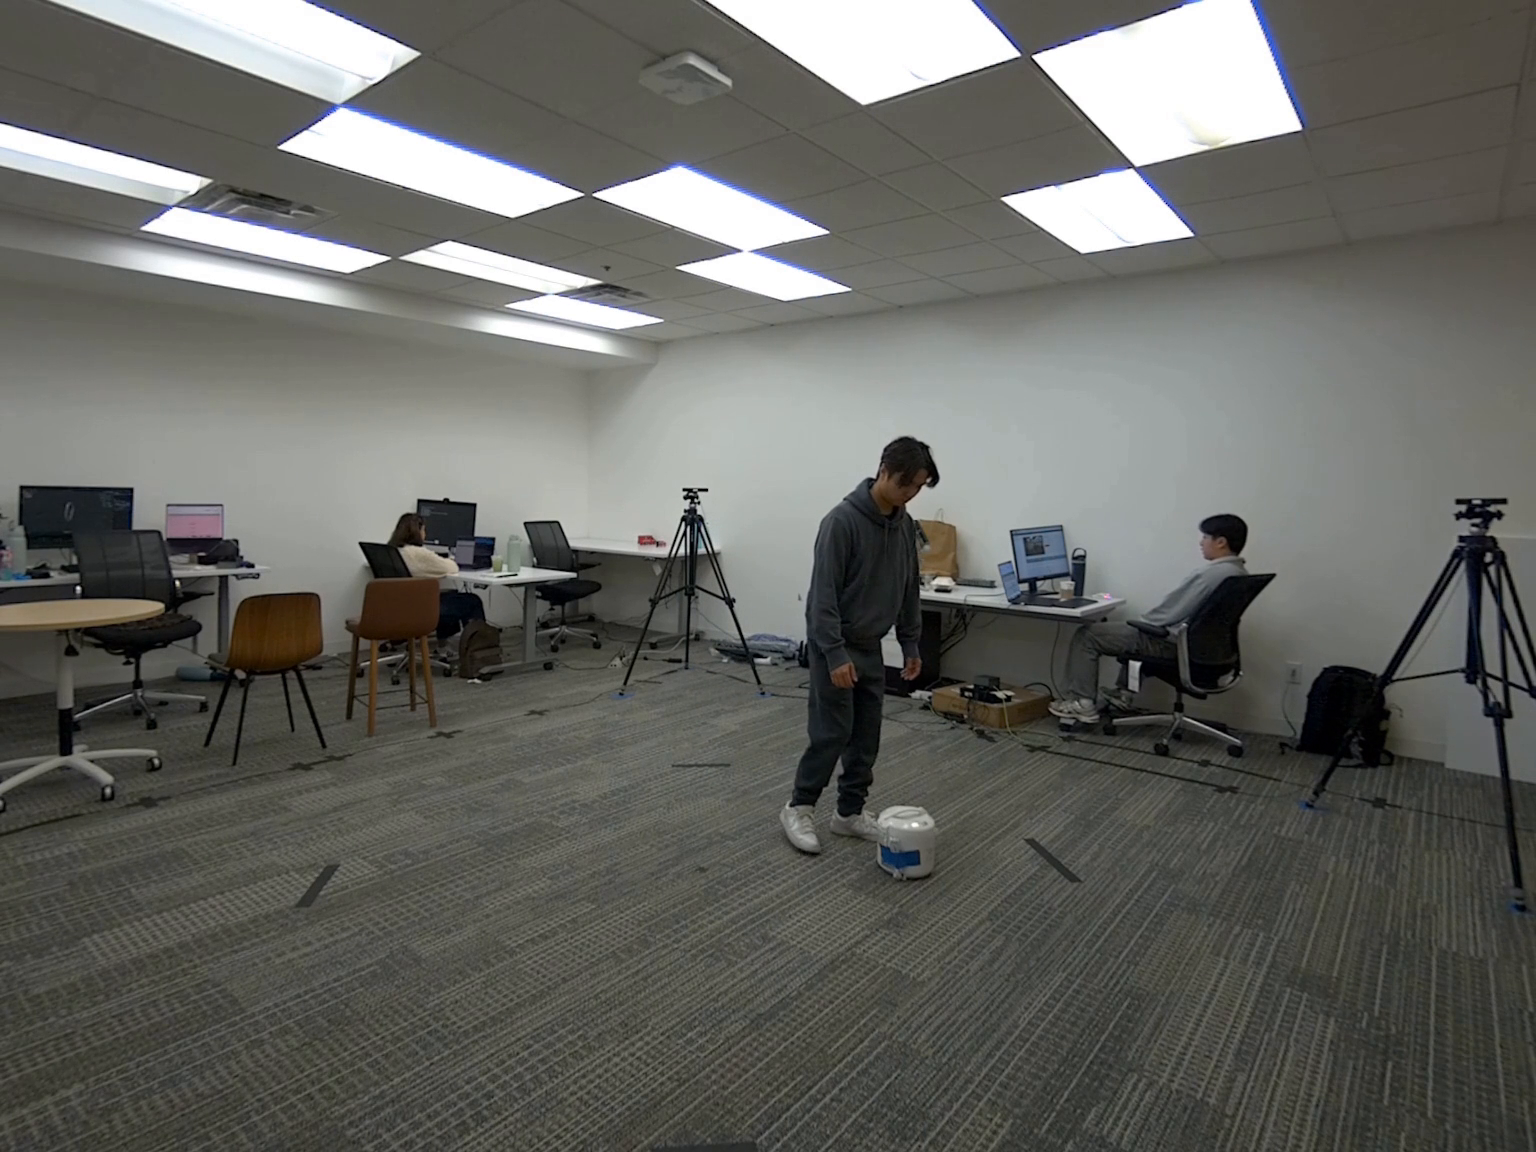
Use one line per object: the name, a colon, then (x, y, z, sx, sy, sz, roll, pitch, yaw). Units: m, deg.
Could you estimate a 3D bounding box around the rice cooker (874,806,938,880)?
rice cooker: (0.502, 0.965, 3.153, 0.216, 0.232, 0.223, 0, 6, -20)
